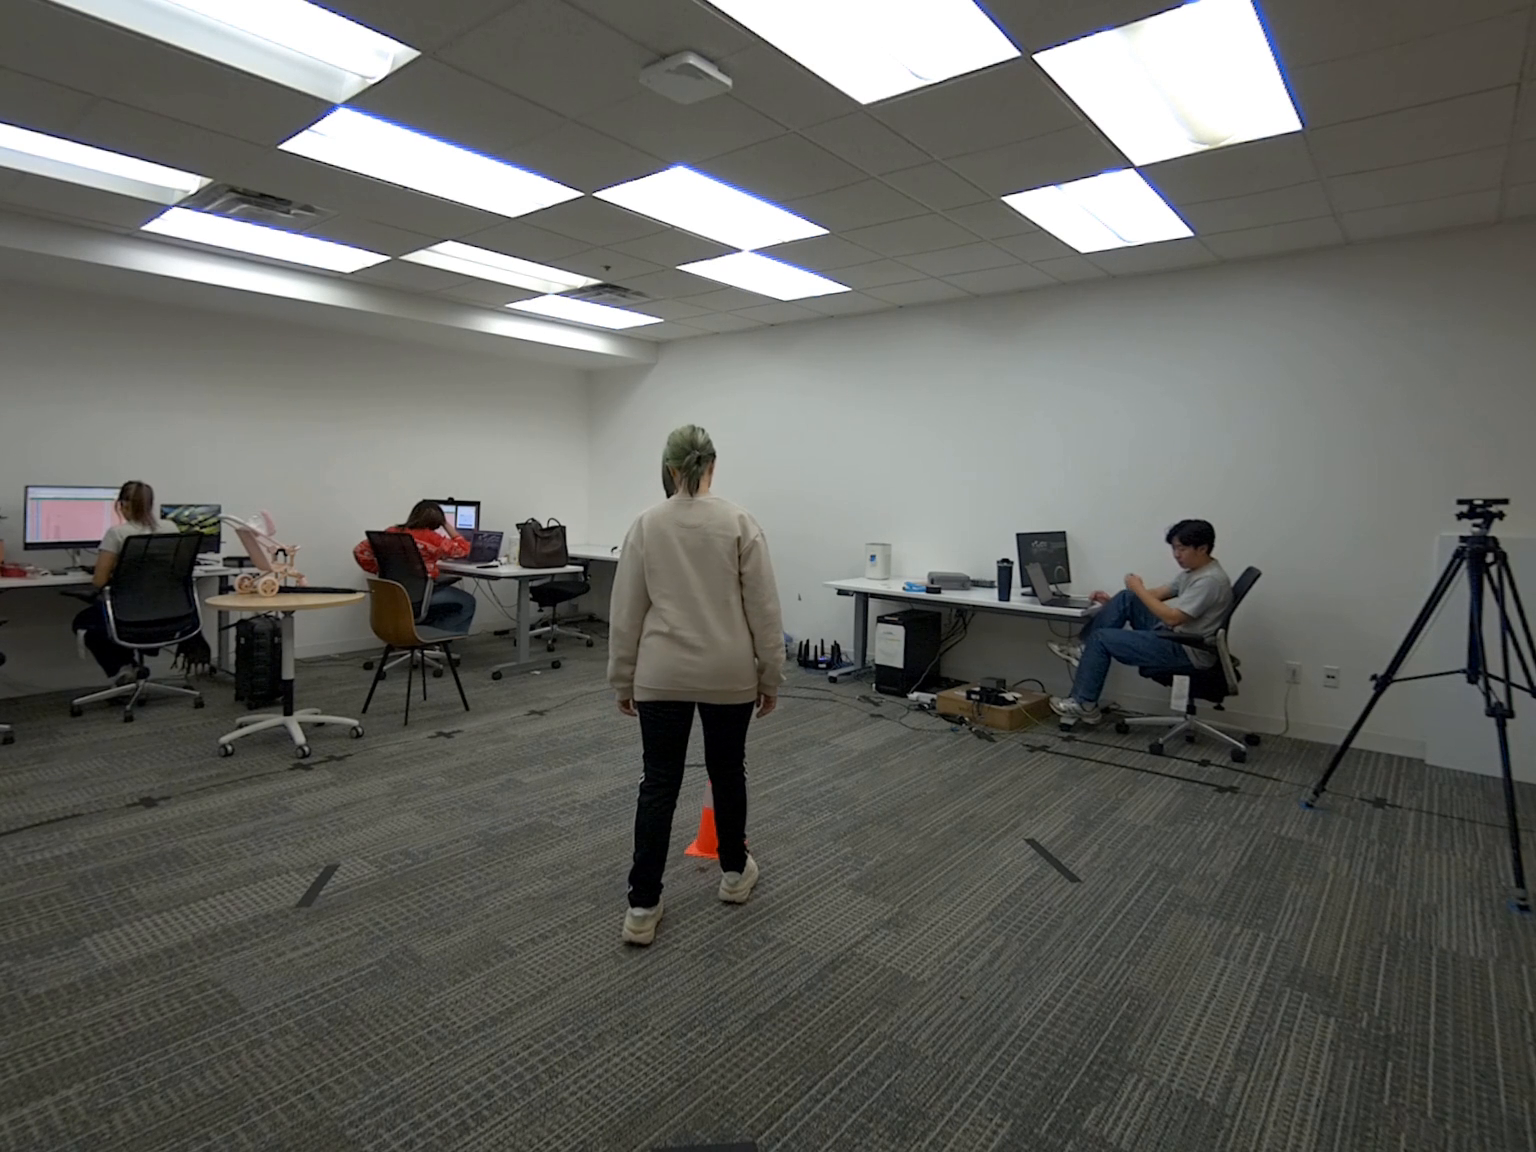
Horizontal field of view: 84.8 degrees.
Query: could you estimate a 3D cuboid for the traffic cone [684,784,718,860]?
[{"bbox_3d":[-0.203,0.865,3.296,0.209,0.383,0.200,3,3,16],"label":"traffic cone"}]
